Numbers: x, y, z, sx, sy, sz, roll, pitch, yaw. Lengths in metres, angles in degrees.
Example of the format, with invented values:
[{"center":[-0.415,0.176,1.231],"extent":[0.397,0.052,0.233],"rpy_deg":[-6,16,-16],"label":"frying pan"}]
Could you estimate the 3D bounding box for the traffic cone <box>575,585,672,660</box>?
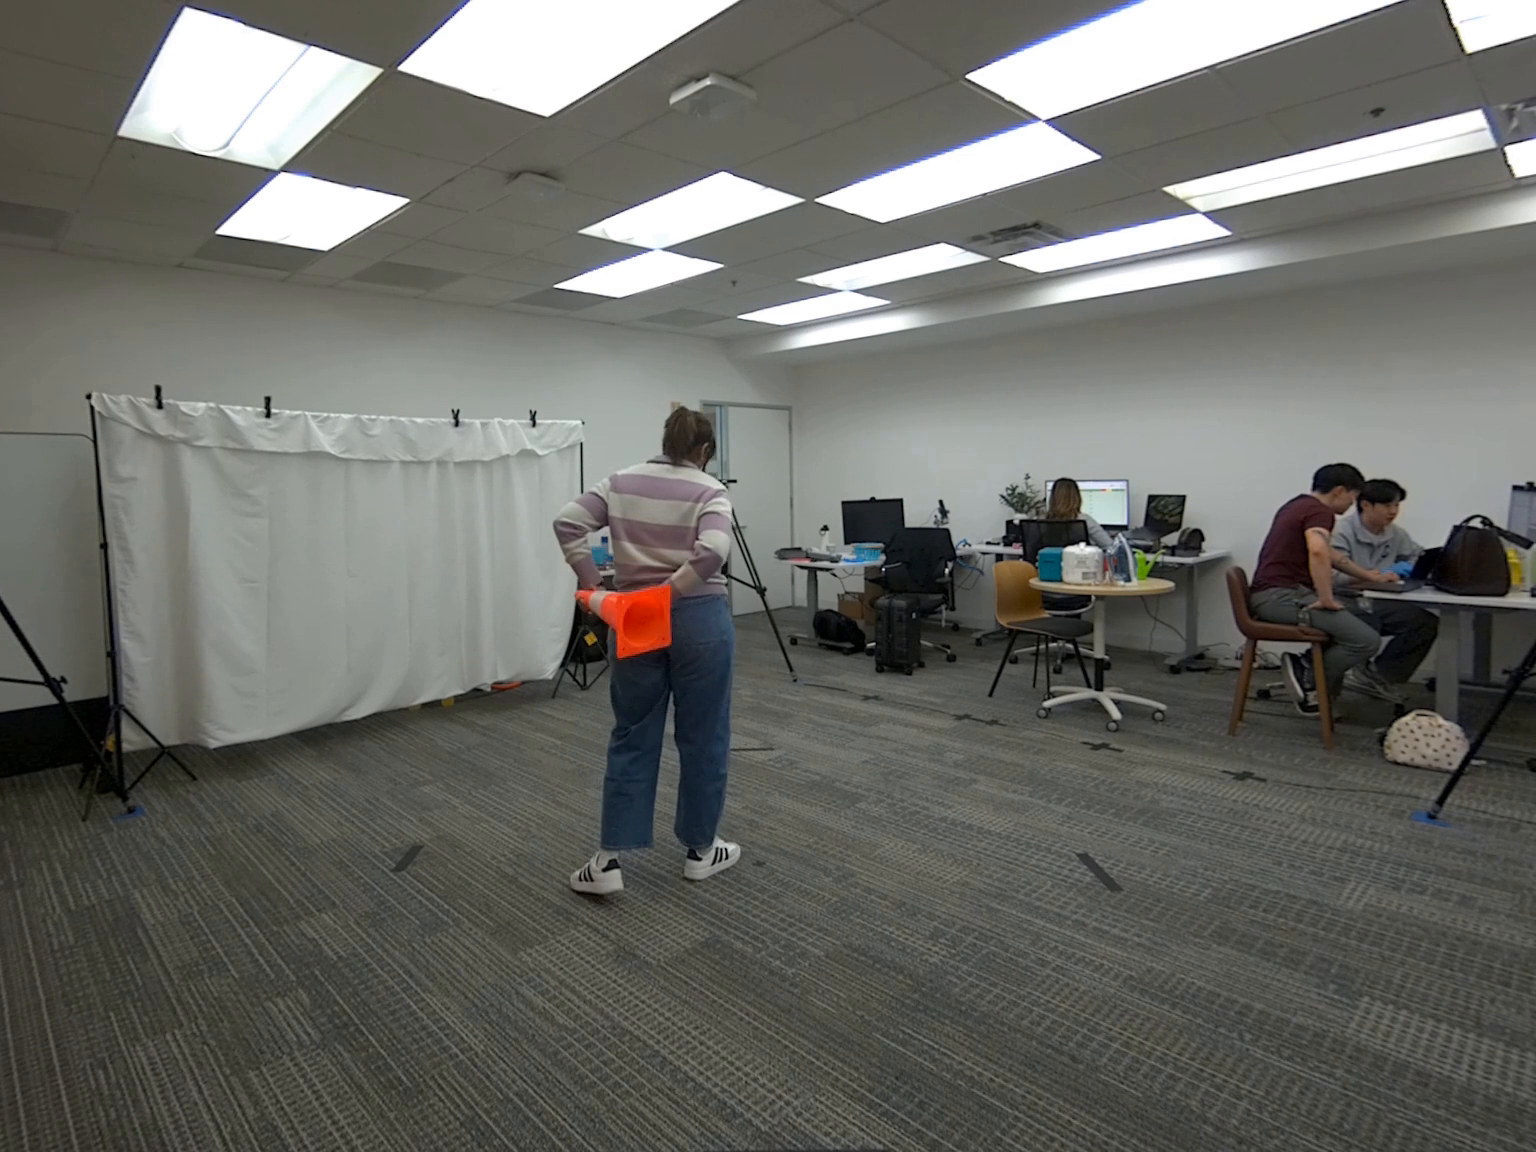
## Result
[{"center":[-0.521,0.100,2.734],"extent":[0.198,0.202,0.397],"rpy_deg":[-11,19,-40],"label":"traffic cone"}]
